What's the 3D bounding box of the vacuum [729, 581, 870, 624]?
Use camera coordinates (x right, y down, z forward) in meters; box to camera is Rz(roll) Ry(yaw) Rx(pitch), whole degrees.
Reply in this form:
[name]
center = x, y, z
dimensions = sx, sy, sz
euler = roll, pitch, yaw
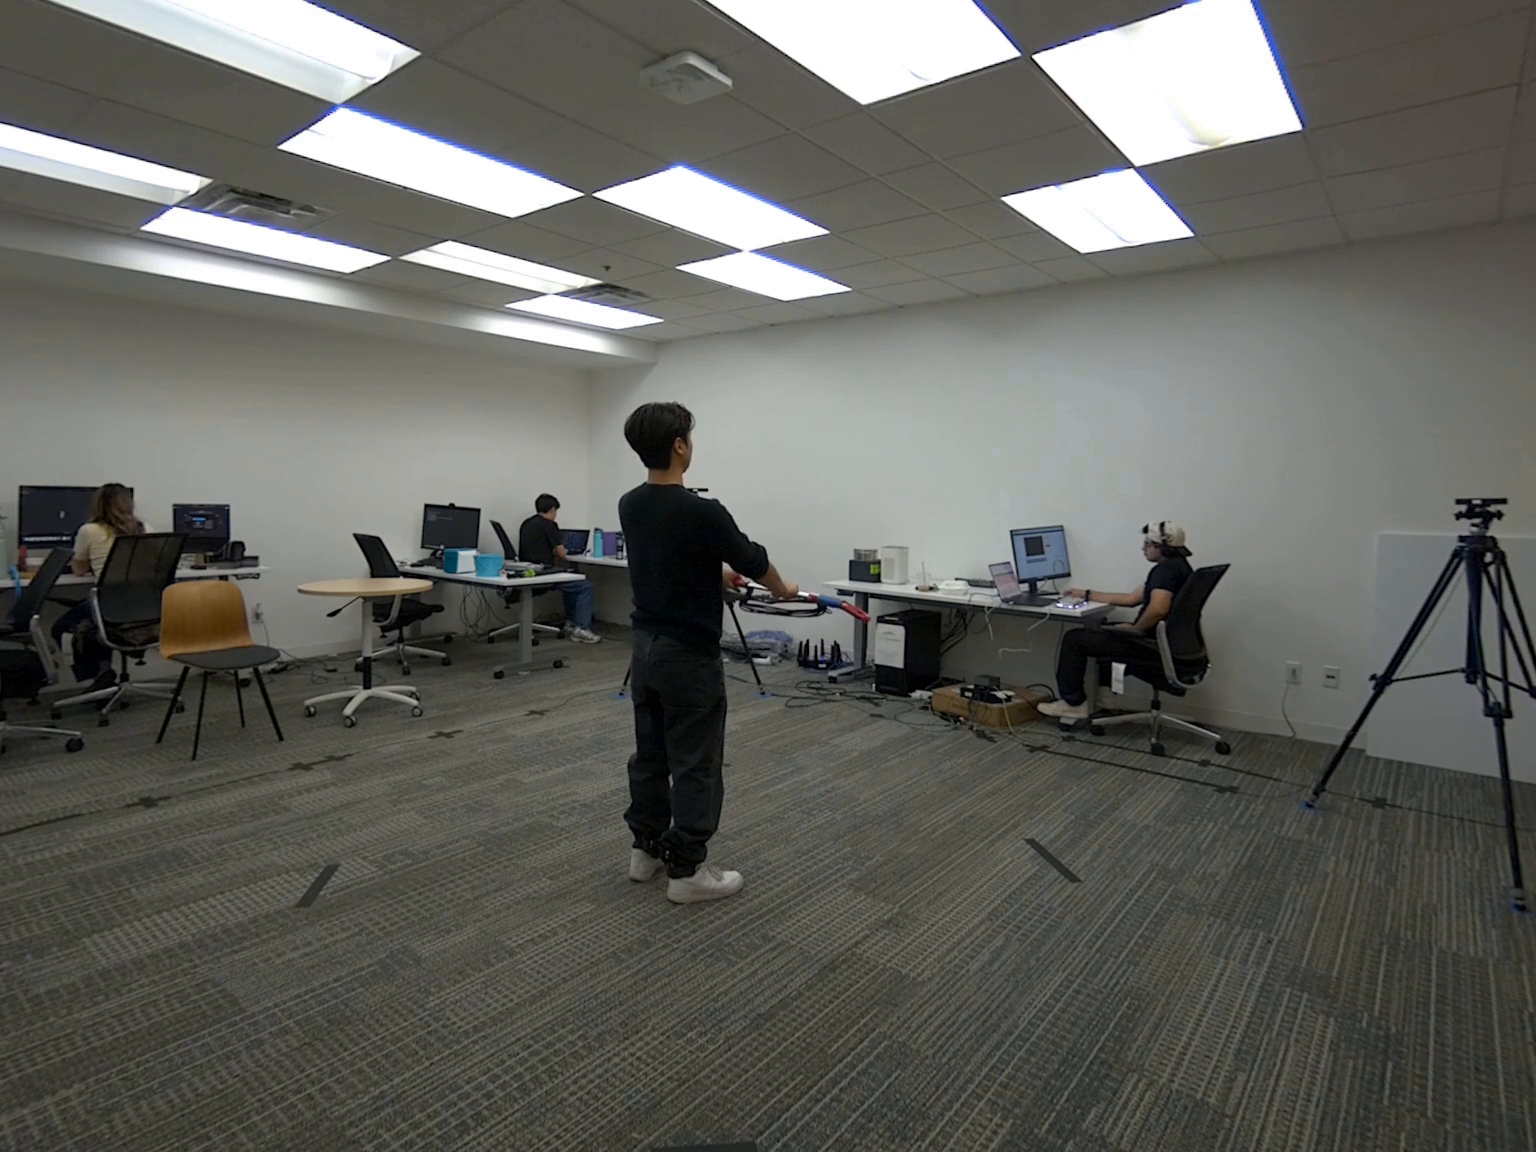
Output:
[vacuum]
center = -0.064, 0.074, 3.303
dimensions = 1.088, 0.140, 0.251
euler = 11, 37, 41
